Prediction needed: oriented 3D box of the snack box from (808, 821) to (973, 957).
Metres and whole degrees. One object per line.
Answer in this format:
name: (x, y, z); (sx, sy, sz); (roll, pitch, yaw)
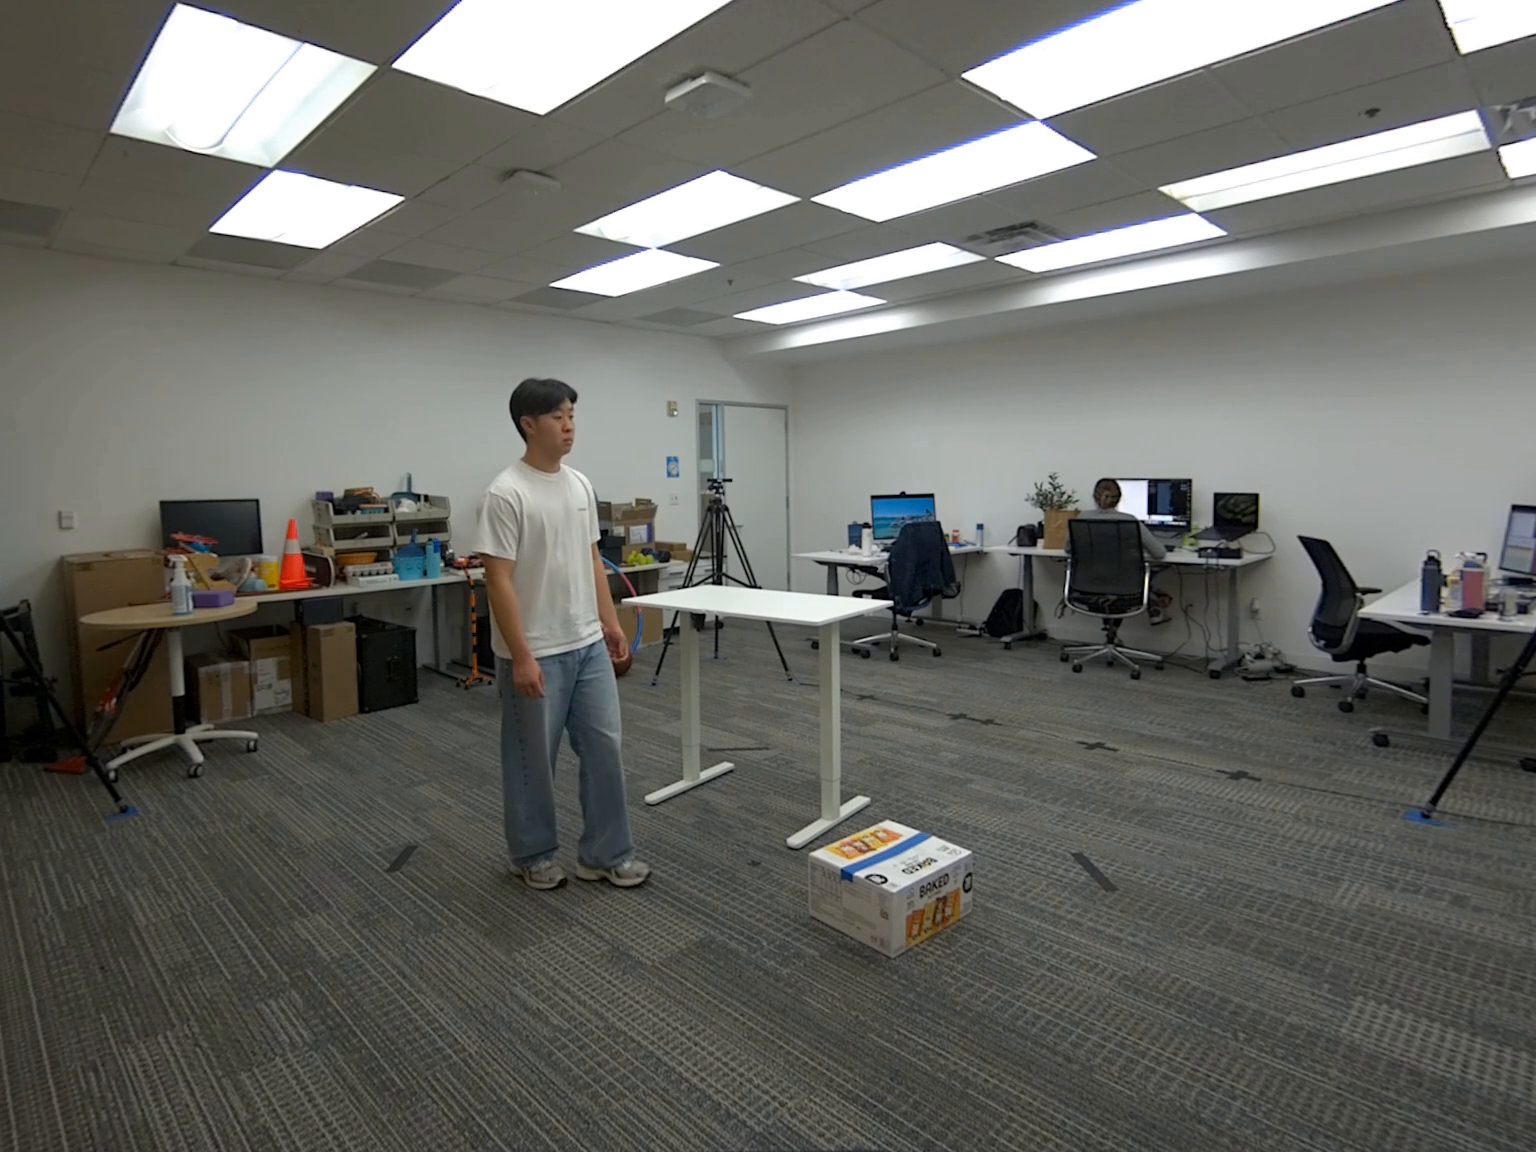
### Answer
snack box: (0.389, 0.976, 2.718); (0.394, 0.205, 0.351); (-6, 8, -41)
